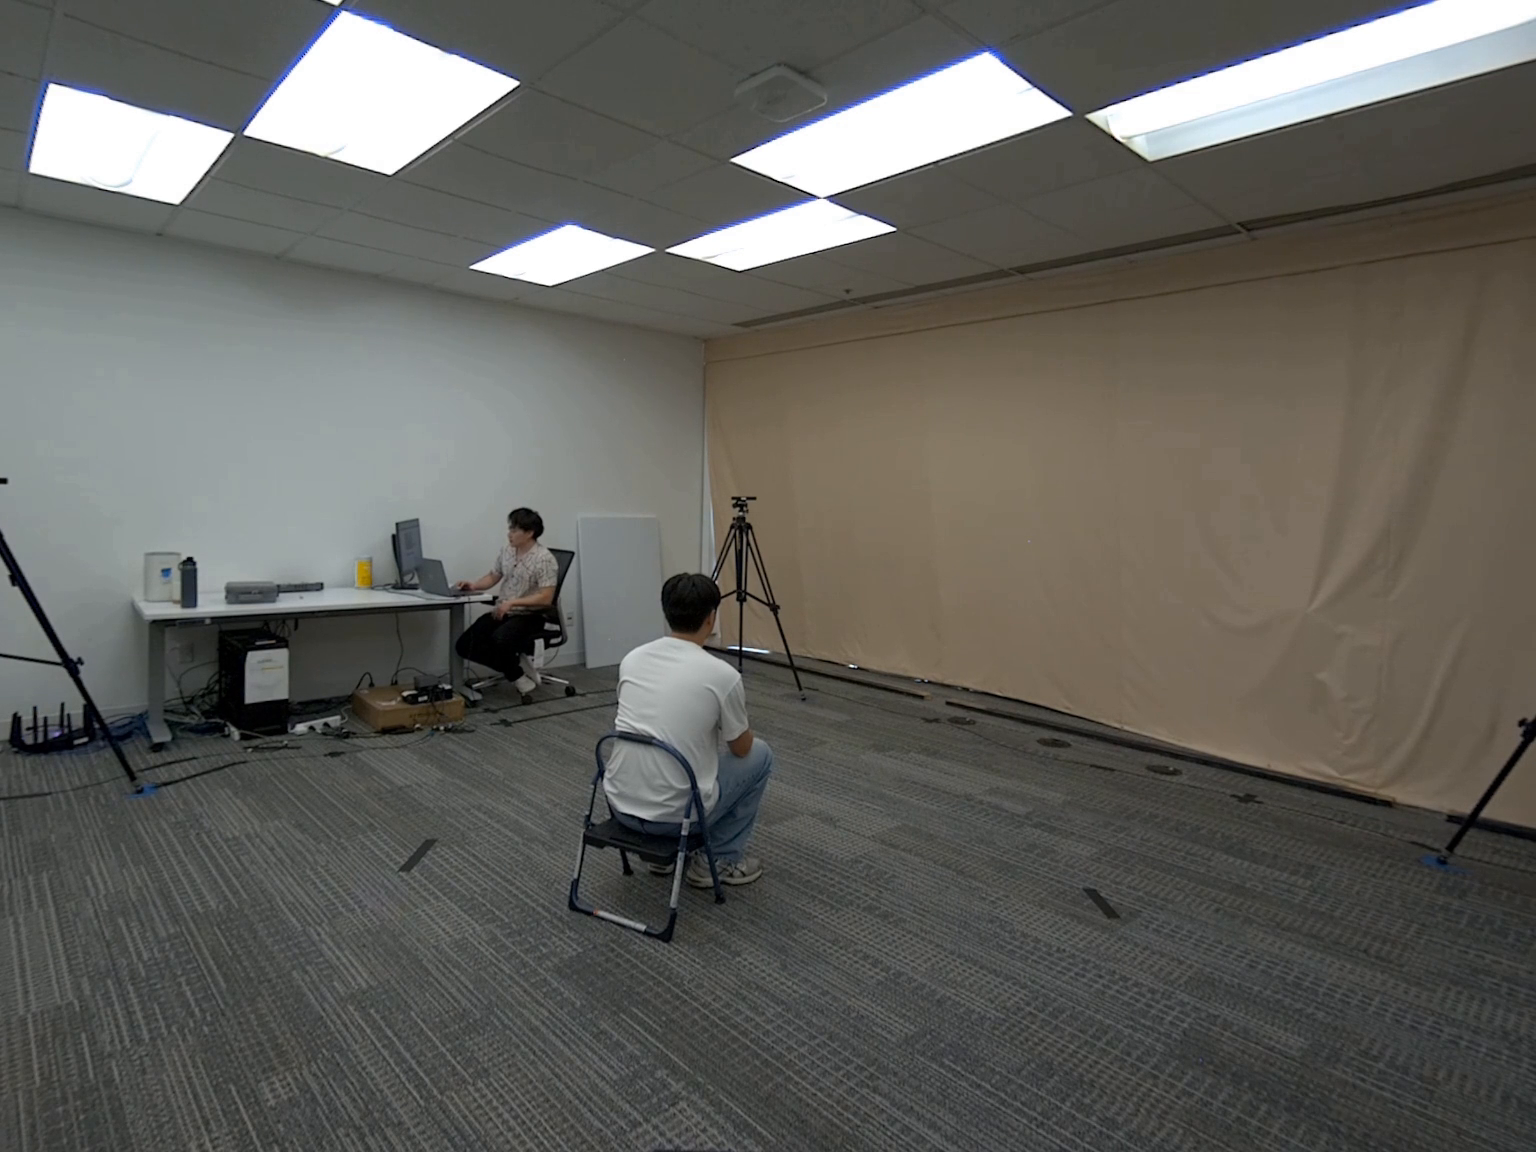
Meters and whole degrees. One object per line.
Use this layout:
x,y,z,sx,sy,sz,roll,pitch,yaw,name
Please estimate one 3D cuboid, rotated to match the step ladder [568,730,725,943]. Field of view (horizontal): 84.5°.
-0.419,0.825,2.849,0.440,0.604,0.343,2,4,29,step ladder
